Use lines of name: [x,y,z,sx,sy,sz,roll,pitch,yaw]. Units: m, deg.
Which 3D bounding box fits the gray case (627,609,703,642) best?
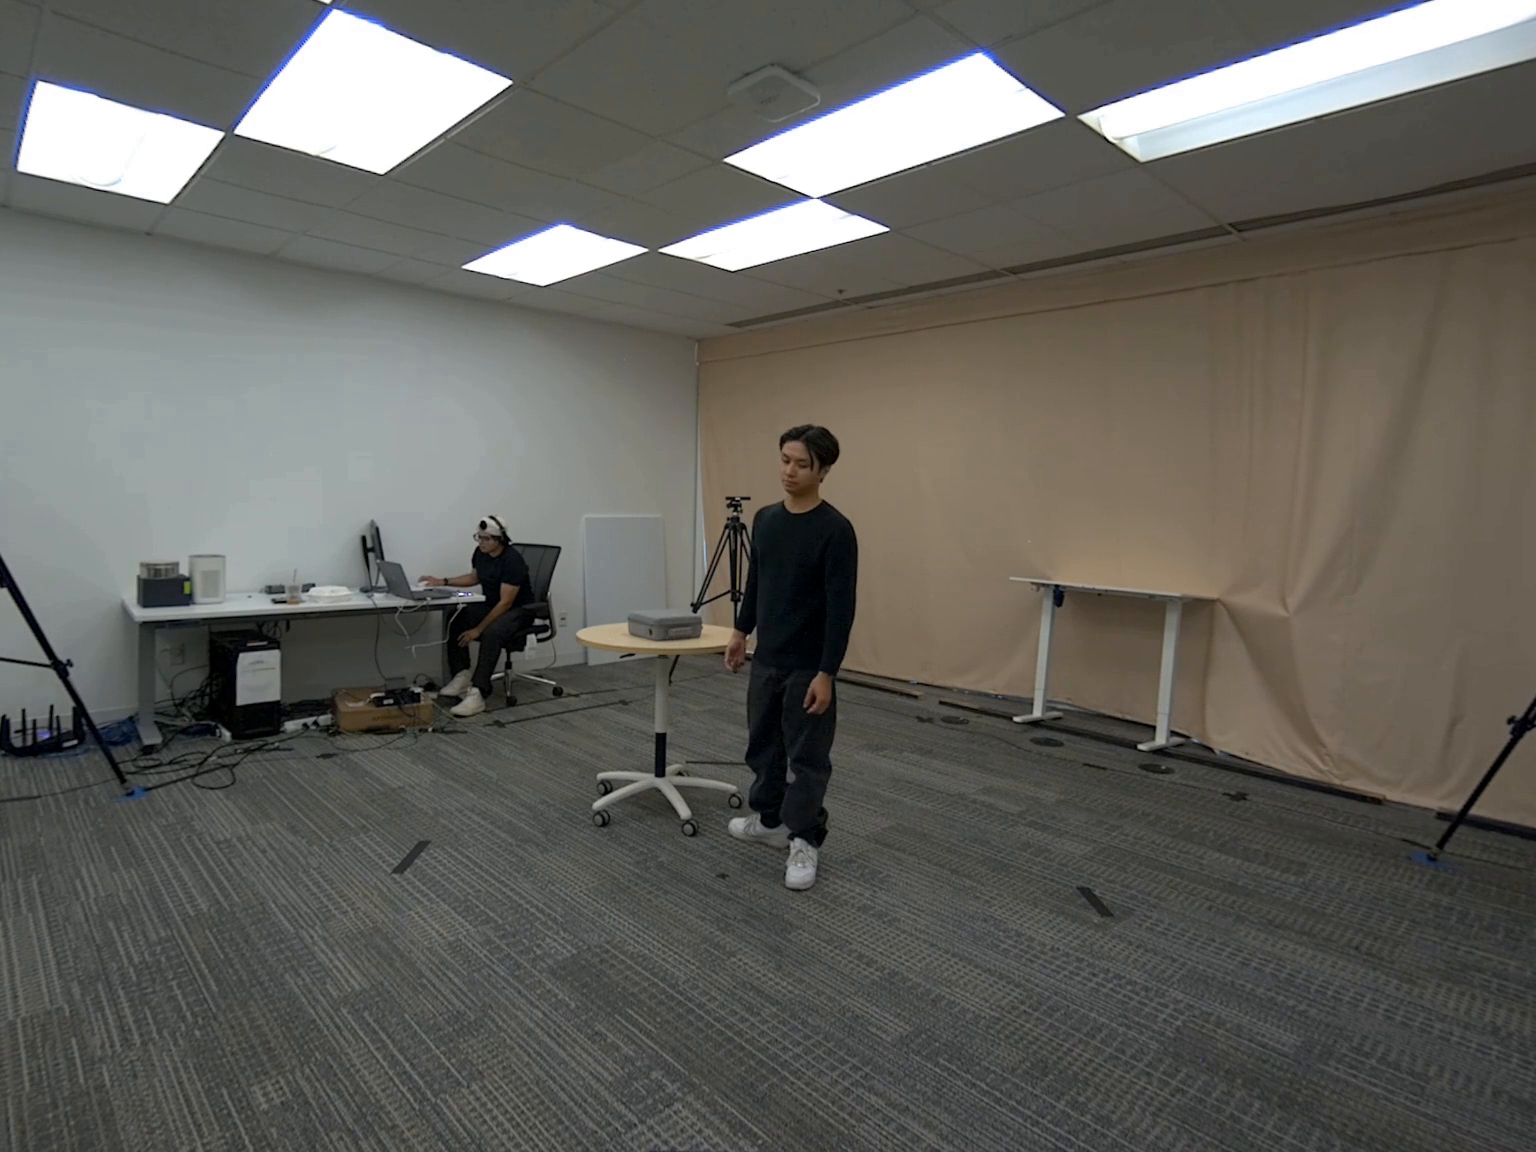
gray case: [-0.458,0.210,3.697,0.251,0.104,0.267,-1,5,-37]
